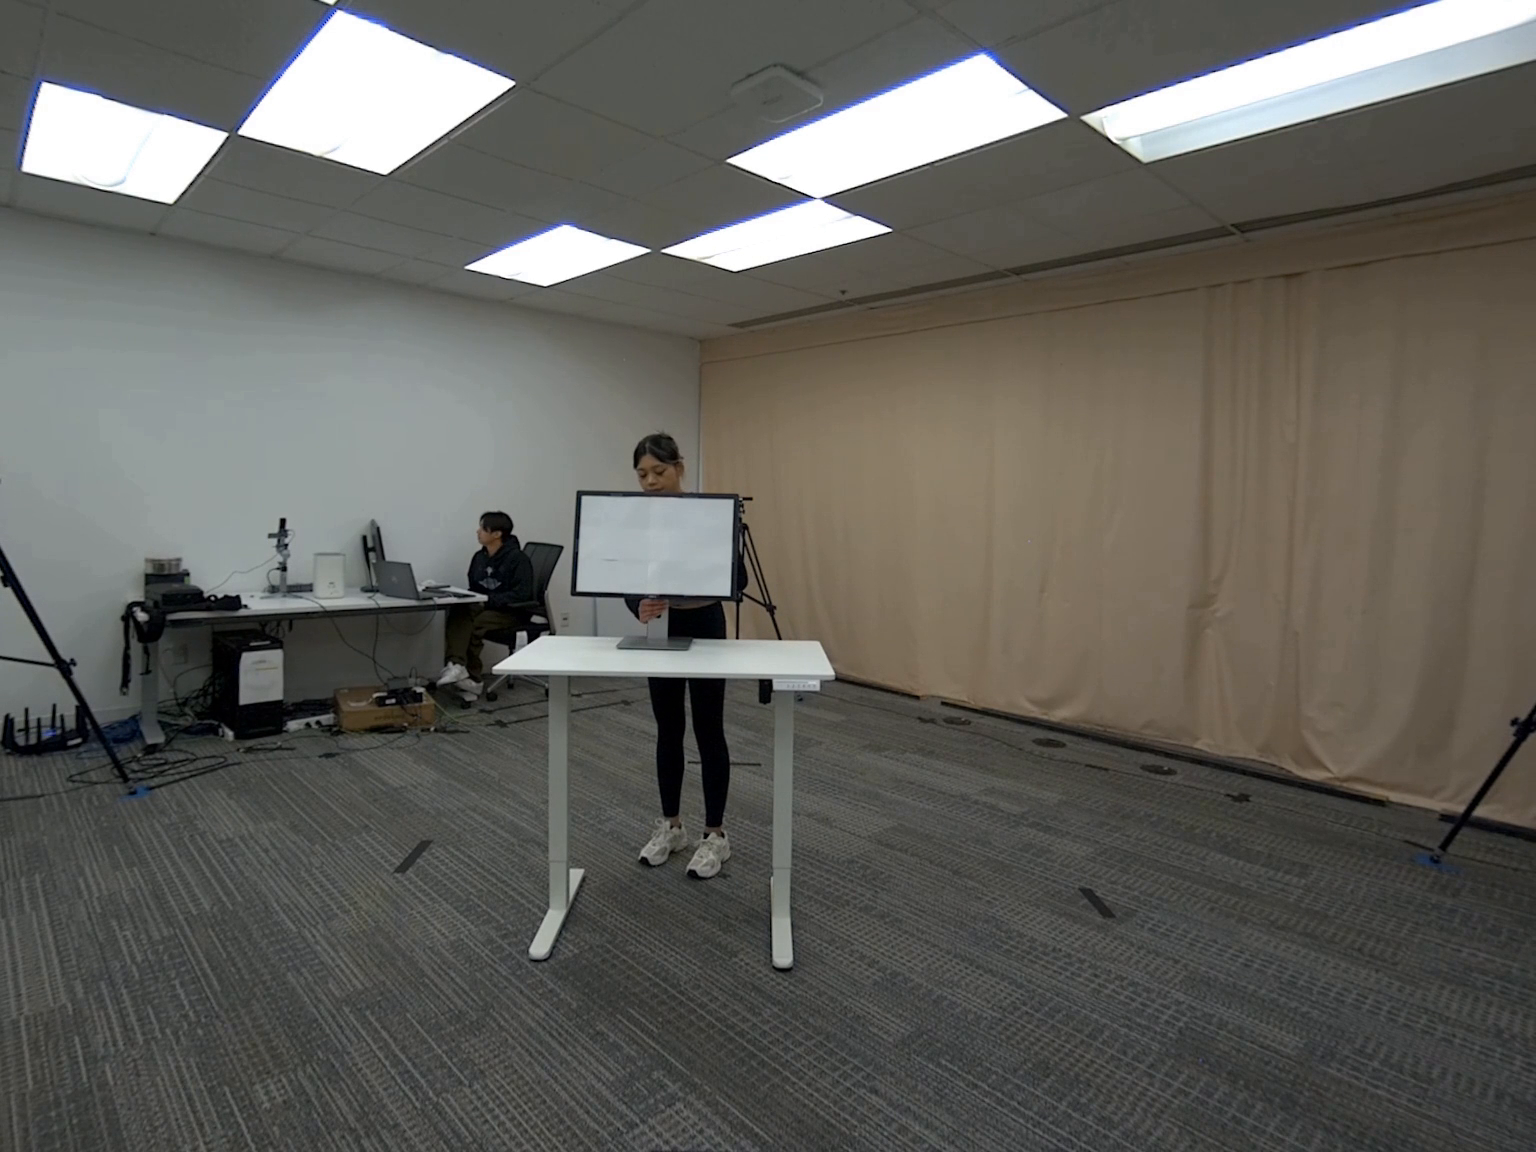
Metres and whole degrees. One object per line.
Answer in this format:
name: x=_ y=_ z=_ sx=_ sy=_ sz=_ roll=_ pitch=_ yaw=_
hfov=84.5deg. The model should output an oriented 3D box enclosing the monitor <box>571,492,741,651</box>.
monitor: x=-0.385 y=-0.018 z=2.886 sx=0.540 sy=0.521 sz=0.187 roll=1 pitch=5 yaw=3
